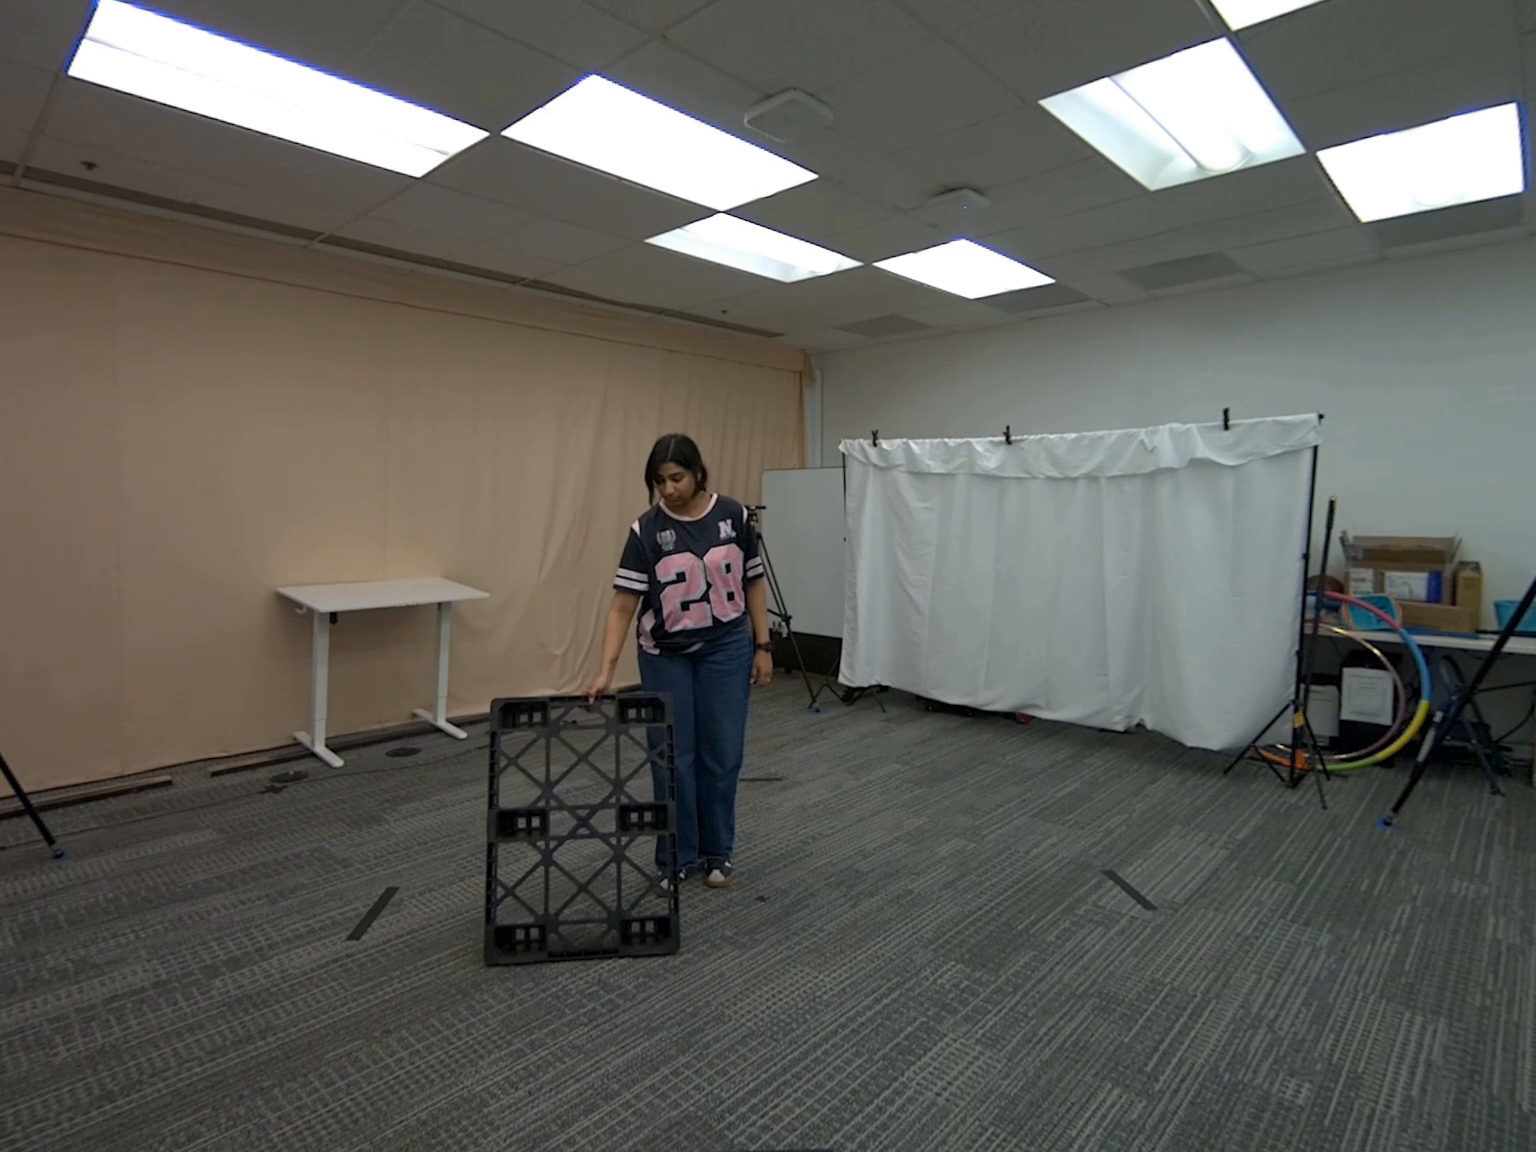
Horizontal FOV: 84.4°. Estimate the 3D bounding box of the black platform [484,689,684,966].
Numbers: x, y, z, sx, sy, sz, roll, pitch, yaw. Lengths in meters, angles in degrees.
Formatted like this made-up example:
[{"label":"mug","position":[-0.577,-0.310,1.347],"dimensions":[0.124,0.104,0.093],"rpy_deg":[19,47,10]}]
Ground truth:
[{"label":"black platform","position":[-0.599,0.795,2.723],"dimensions":[0.601,0.812,0.143],"rpy_deg":[-1,-13,-5]}]
